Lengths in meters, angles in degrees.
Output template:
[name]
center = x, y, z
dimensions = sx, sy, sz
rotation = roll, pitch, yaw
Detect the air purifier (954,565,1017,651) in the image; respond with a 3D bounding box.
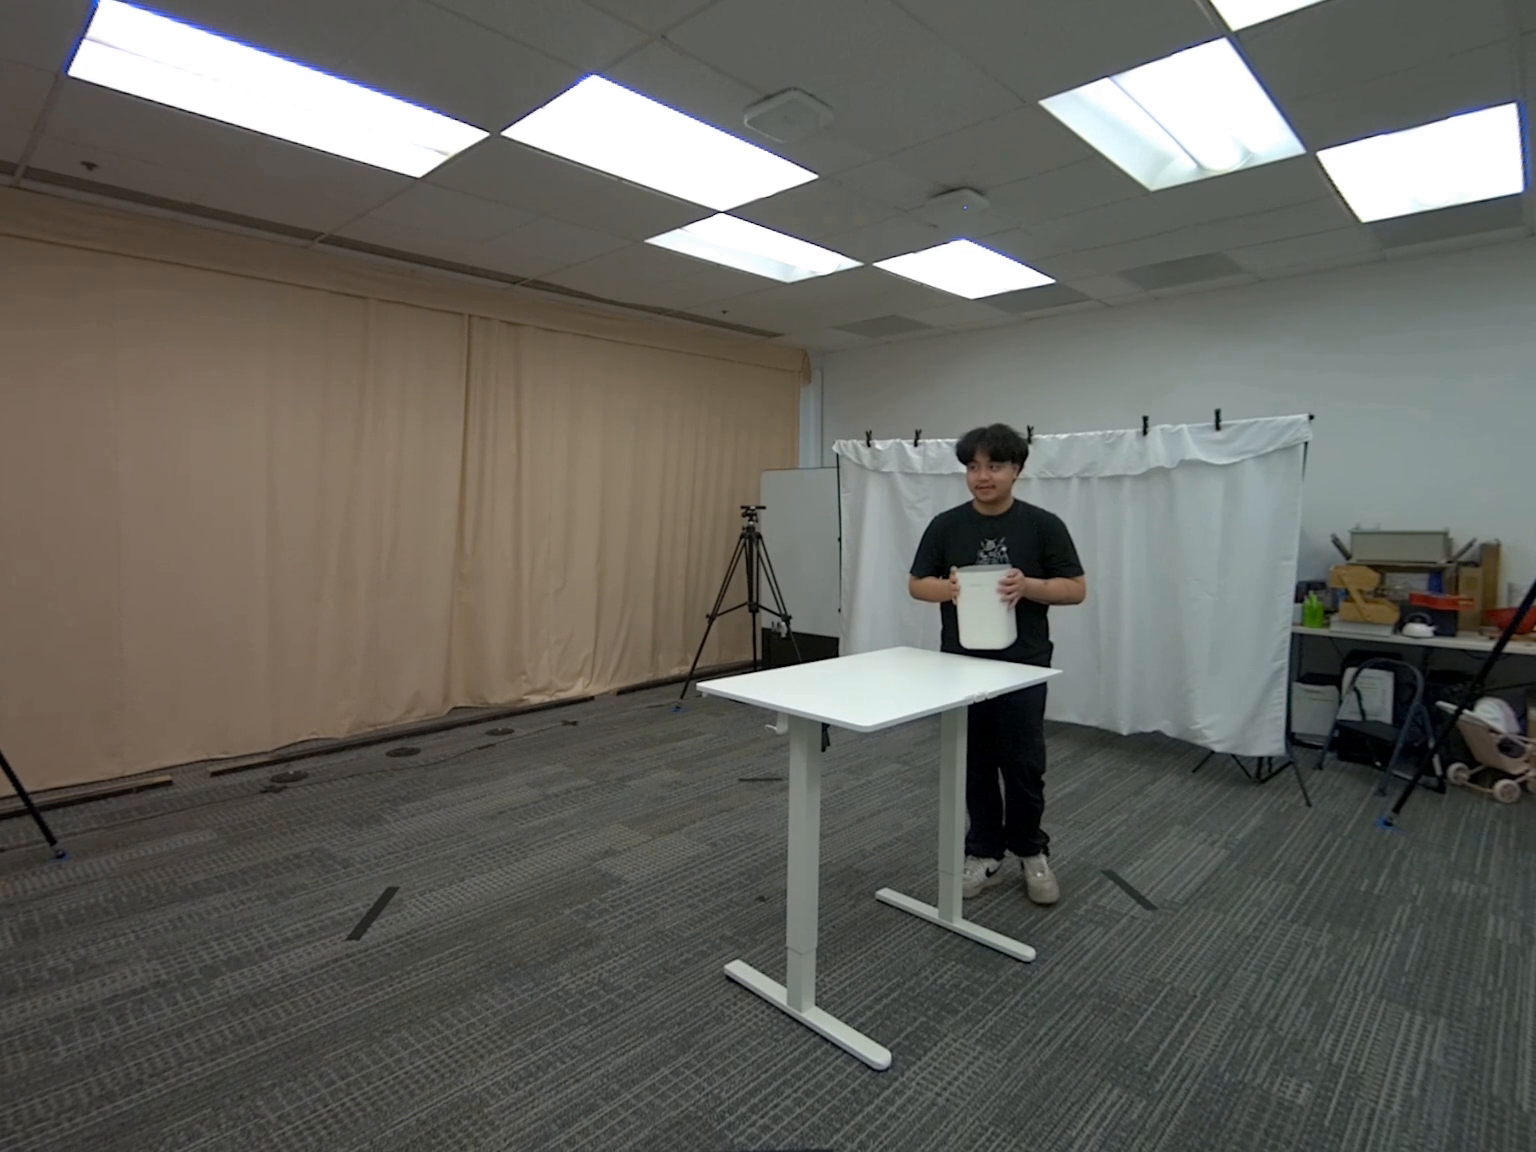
[air purifier]
center = 0.733, 0.104, 2.834
dimensions = 0.175, 0.264, 0.168
rotation = -4, 5, 28
